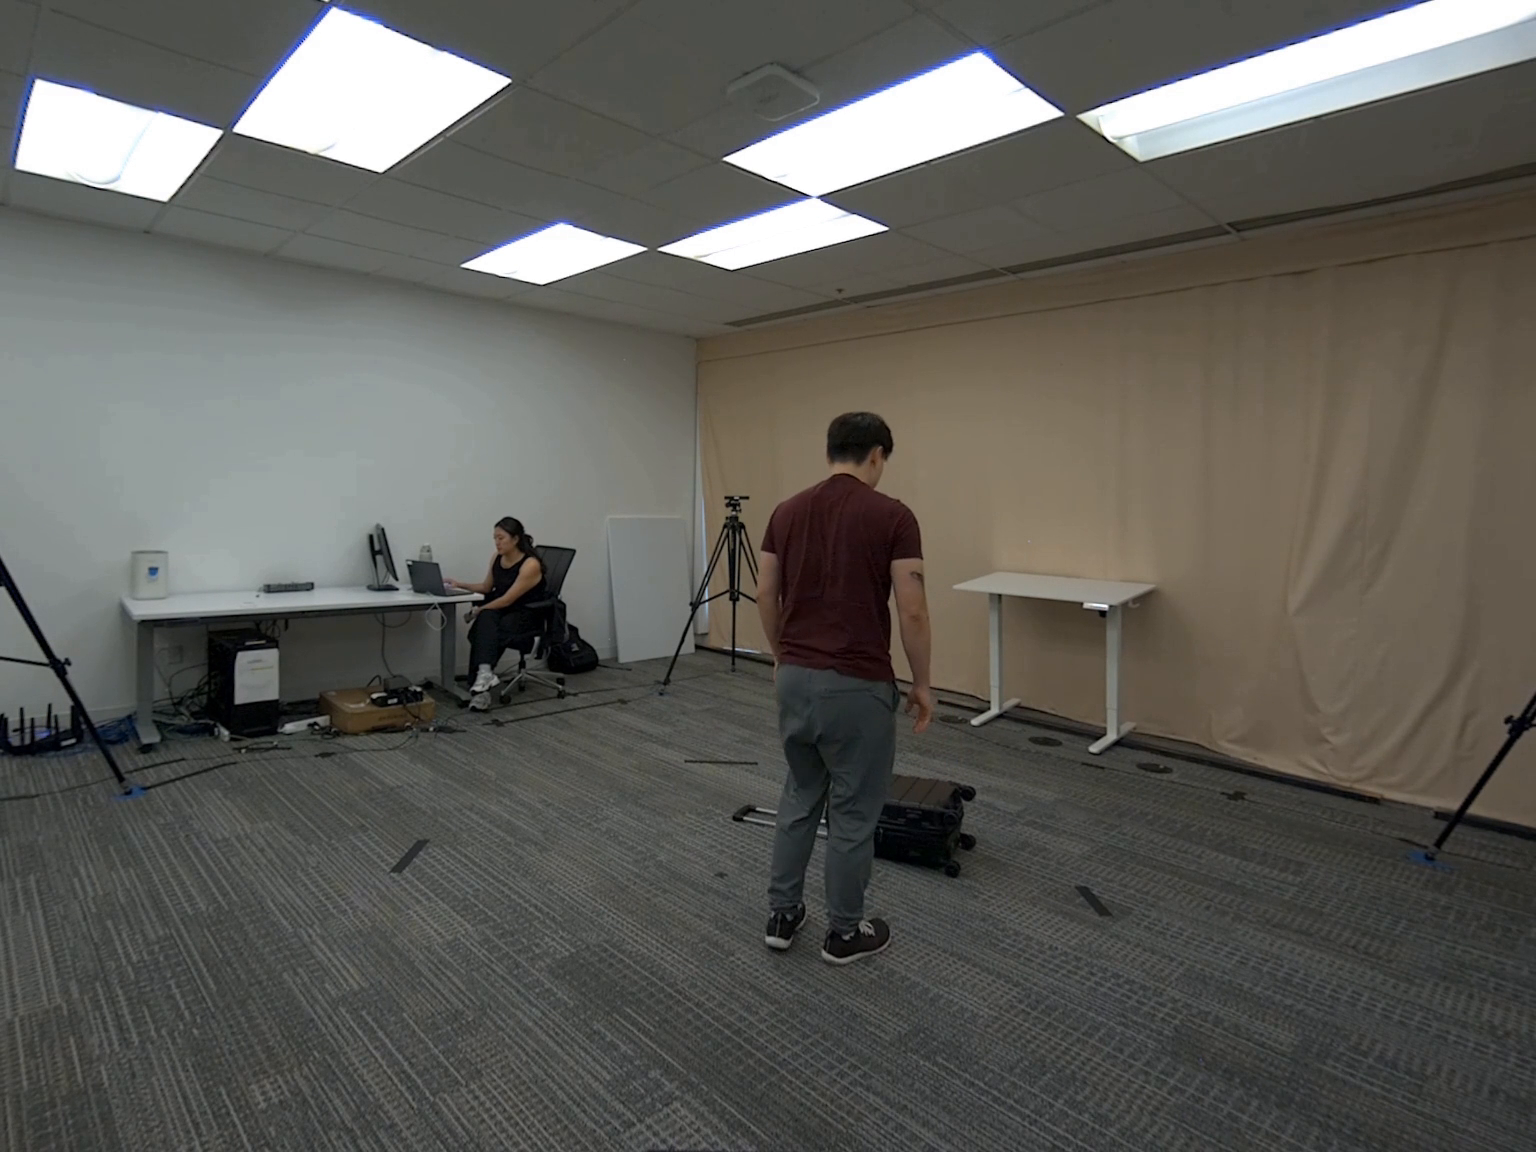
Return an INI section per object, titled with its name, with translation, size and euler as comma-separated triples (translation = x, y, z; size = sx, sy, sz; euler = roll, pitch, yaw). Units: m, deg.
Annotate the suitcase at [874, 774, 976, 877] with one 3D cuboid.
[suitcase]
translation = 0.325, 0.954, 3.483
size = 0.998, 0.256, 0.378
euler = 3, 7, 26
